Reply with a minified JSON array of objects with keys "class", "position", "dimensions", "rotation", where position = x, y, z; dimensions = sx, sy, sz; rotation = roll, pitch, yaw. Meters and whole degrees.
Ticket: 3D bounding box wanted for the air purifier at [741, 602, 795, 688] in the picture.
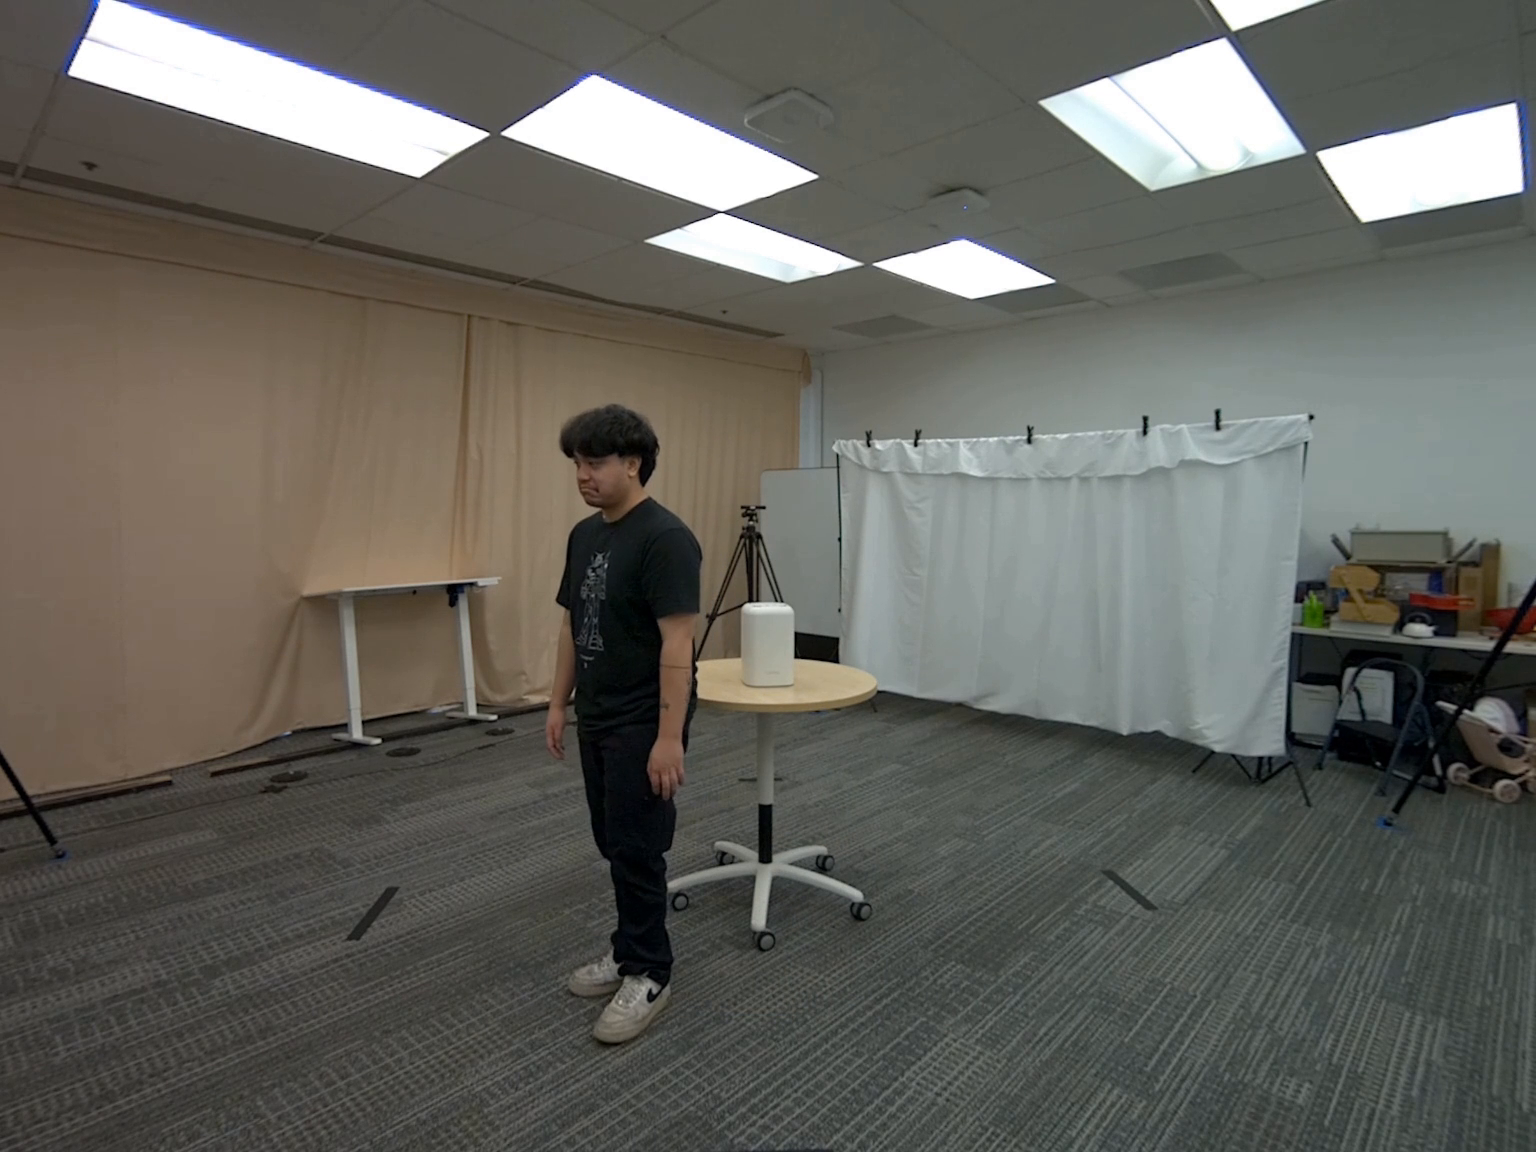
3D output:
[{"class":"air purifier","position":[0.001,0.230,2.858],"dimensions":[0.169,0.264,0.173],"rotation":[0,4,-9]}]
